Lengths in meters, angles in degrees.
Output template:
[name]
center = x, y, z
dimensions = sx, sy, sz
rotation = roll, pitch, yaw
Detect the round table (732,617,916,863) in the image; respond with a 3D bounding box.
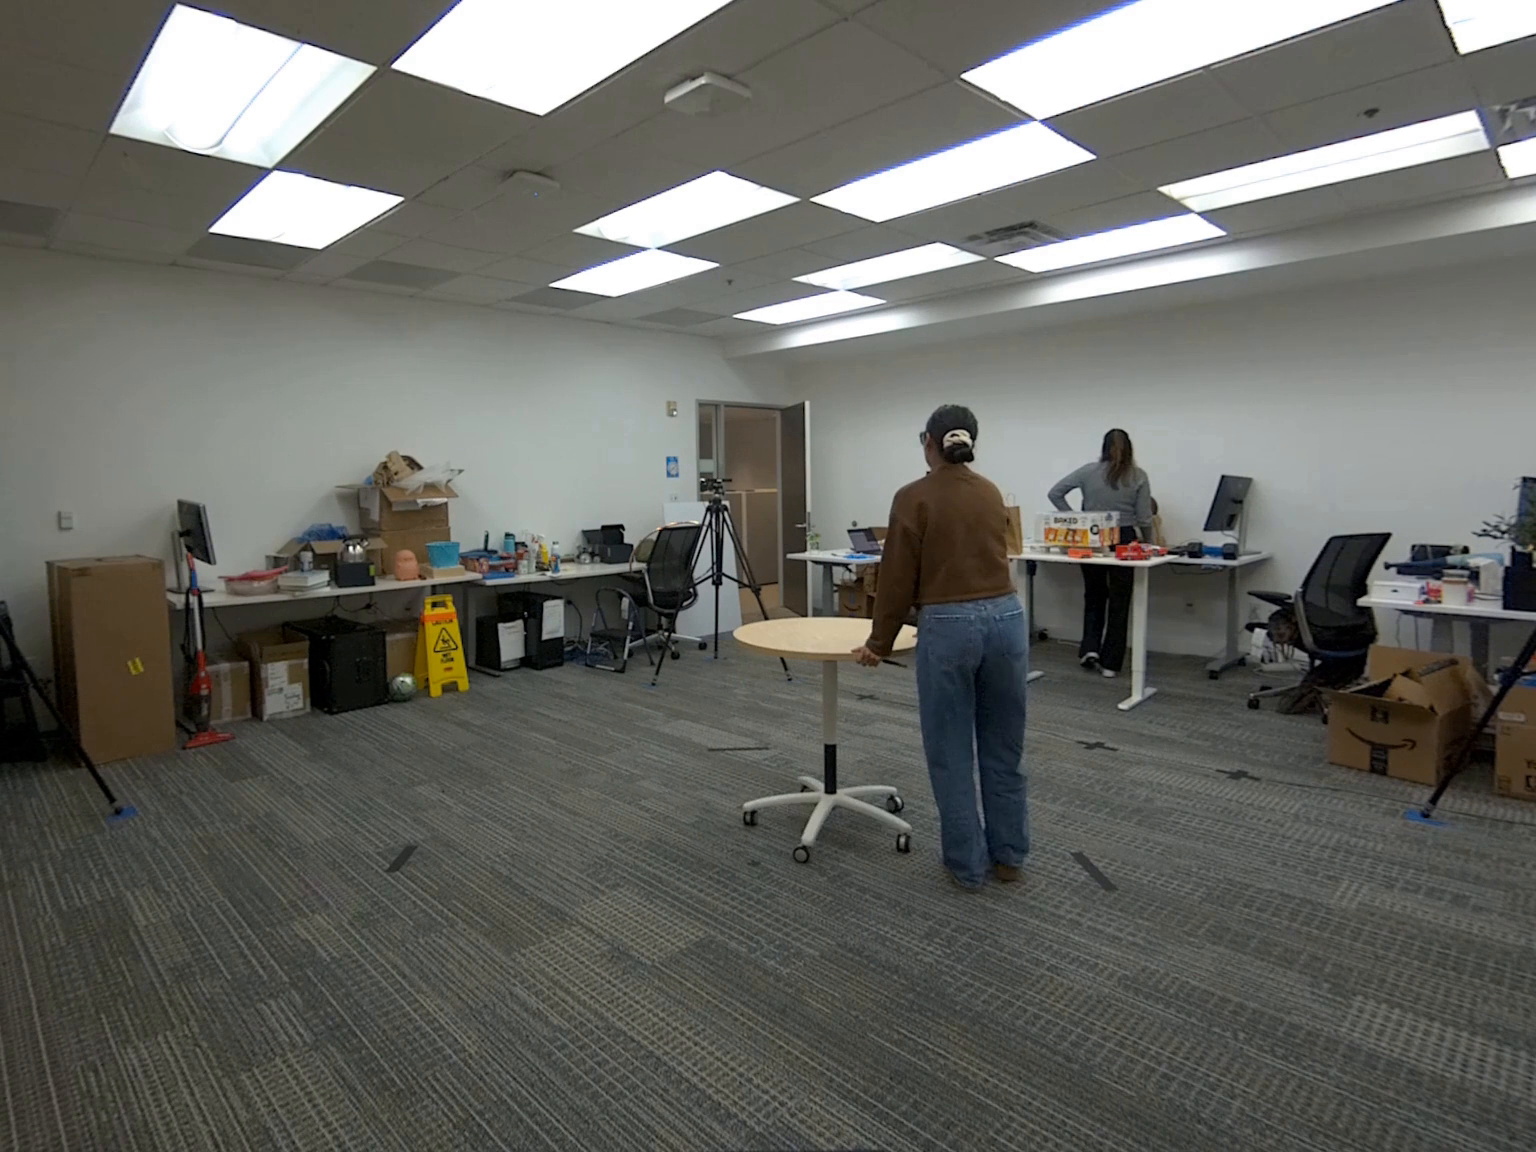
[round table]
center = 0.267, 0.612, 3.395
dimensions = 0.784, 0.783, 0.789
rotation = -1, 5, -2
